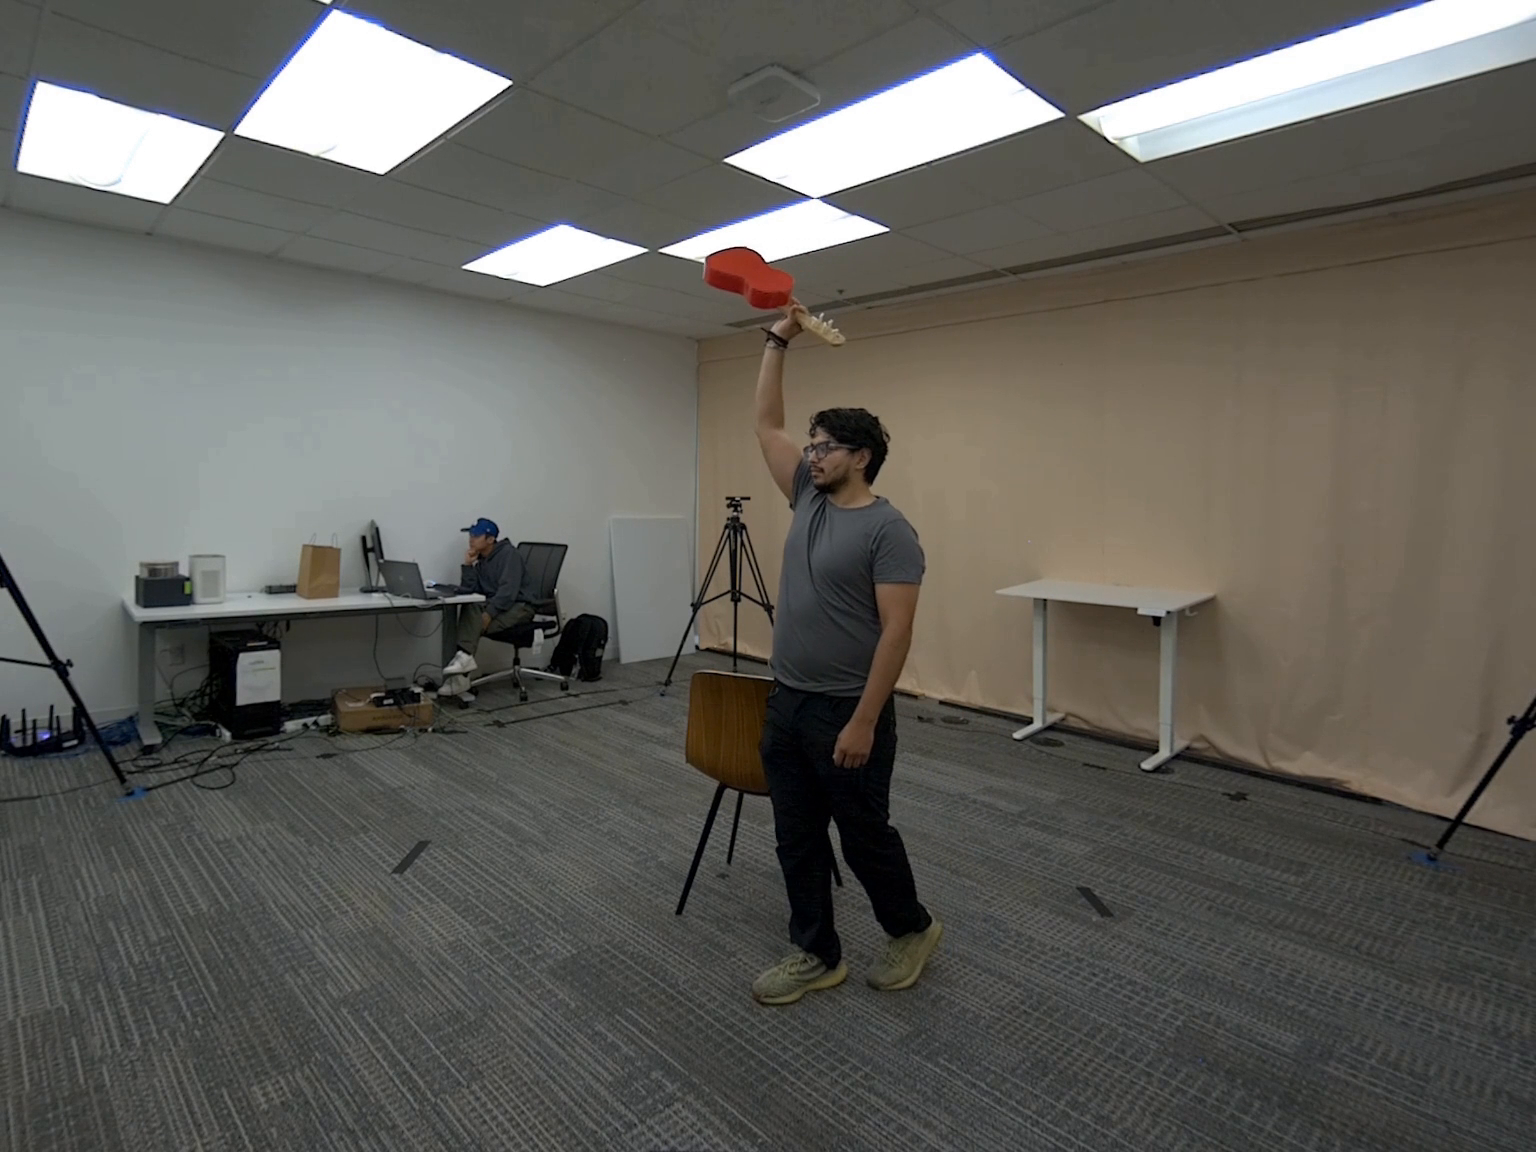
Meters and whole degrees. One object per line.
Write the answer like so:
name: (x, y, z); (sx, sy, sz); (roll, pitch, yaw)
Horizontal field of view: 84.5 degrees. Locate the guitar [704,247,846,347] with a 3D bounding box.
guitar: (0.041, -0.822, 2.446); (0.508, 0.069, 0.192); (32, 49, 20)
